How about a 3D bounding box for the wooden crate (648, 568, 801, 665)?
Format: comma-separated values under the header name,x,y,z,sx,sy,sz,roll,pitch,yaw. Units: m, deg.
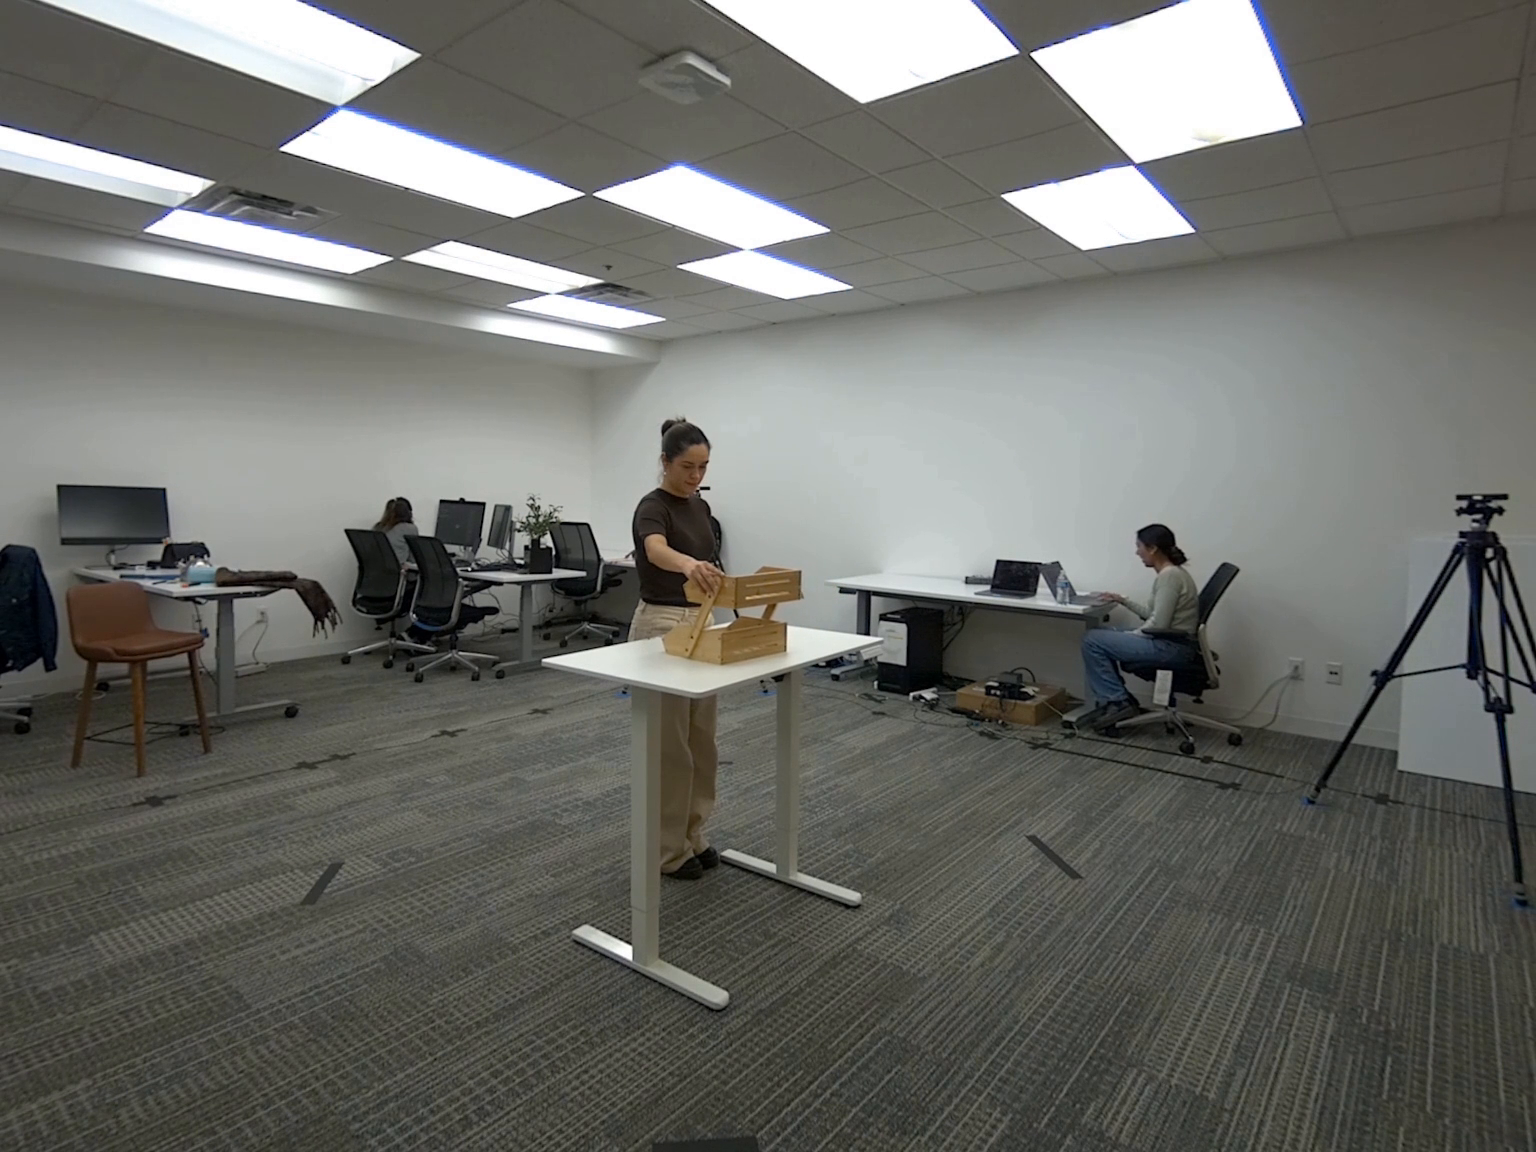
name,x,y,z,sx,sy,sz,roll,pitch,yaw
wooden crate,-0.120,0.104,2.601,0.312,0.272,0.315,6,7,41
